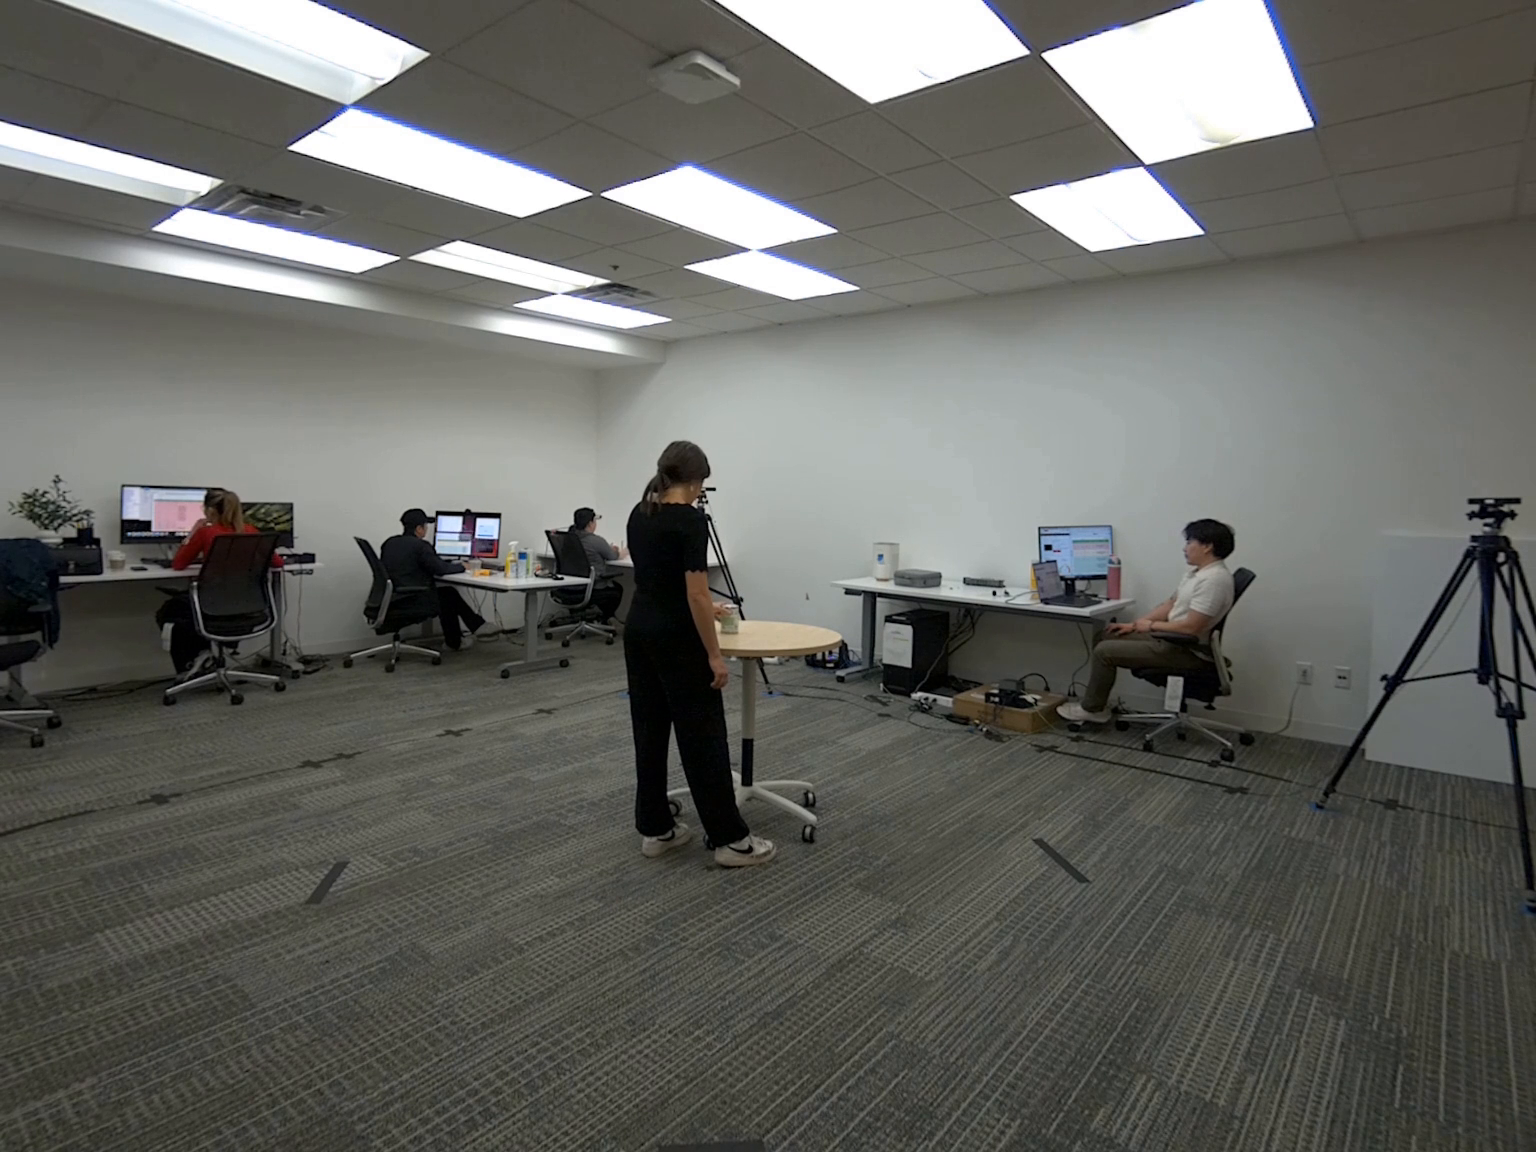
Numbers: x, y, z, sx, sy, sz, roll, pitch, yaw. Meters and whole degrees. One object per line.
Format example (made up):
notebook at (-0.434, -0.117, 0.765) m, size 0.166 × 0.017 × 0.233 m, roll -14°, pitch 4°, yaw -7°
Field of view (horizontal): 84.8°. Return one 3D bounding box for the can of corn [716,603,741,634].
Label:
can of corn at (-0.175, 0.182, 3.608) m, size 0.074 × 0.111 × 0.074 m, roll 2°, pitch 2°, yaw -2°
